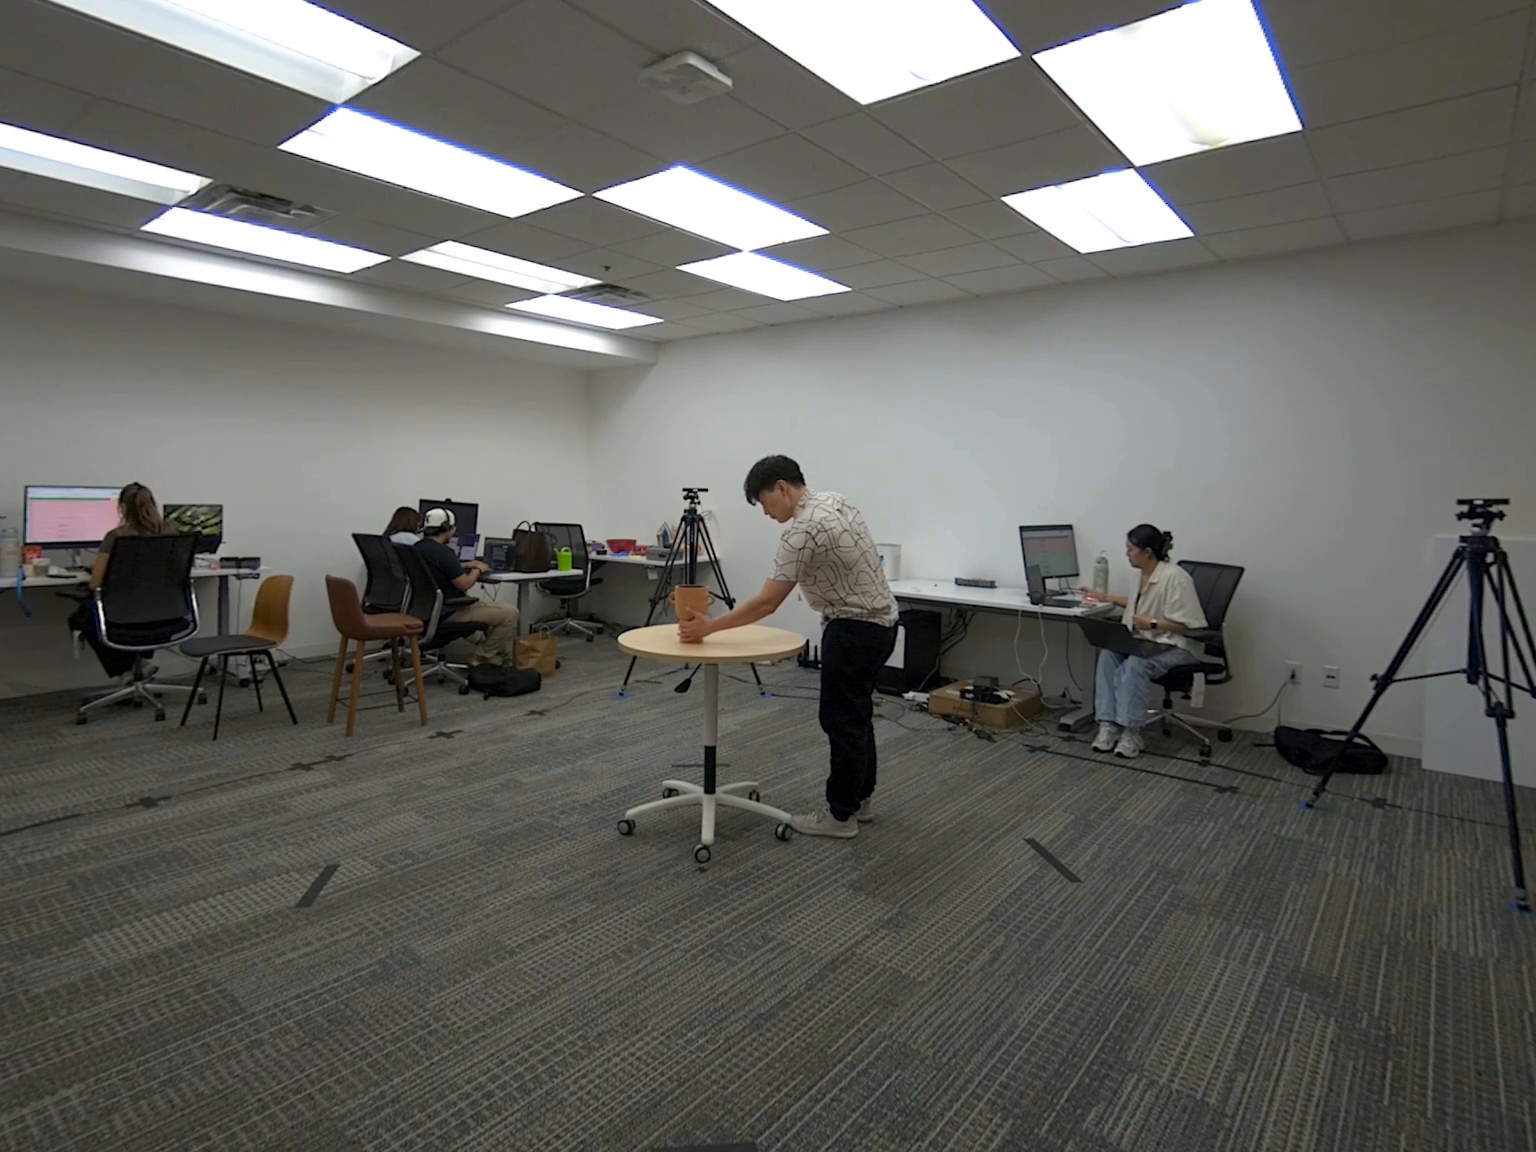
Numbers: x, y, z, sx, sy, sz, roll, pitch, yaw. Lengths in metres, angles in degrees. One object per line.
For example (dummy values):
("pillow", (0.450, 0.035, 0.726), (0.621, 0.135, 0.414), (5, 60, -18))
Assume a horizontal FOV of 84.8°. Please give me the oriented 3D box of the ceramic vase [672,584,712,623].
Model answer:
("ceramic vase", (-0.316, 0.149, 3.403), (0.131, 0.219, 0.164), (-2, 5, -33))
